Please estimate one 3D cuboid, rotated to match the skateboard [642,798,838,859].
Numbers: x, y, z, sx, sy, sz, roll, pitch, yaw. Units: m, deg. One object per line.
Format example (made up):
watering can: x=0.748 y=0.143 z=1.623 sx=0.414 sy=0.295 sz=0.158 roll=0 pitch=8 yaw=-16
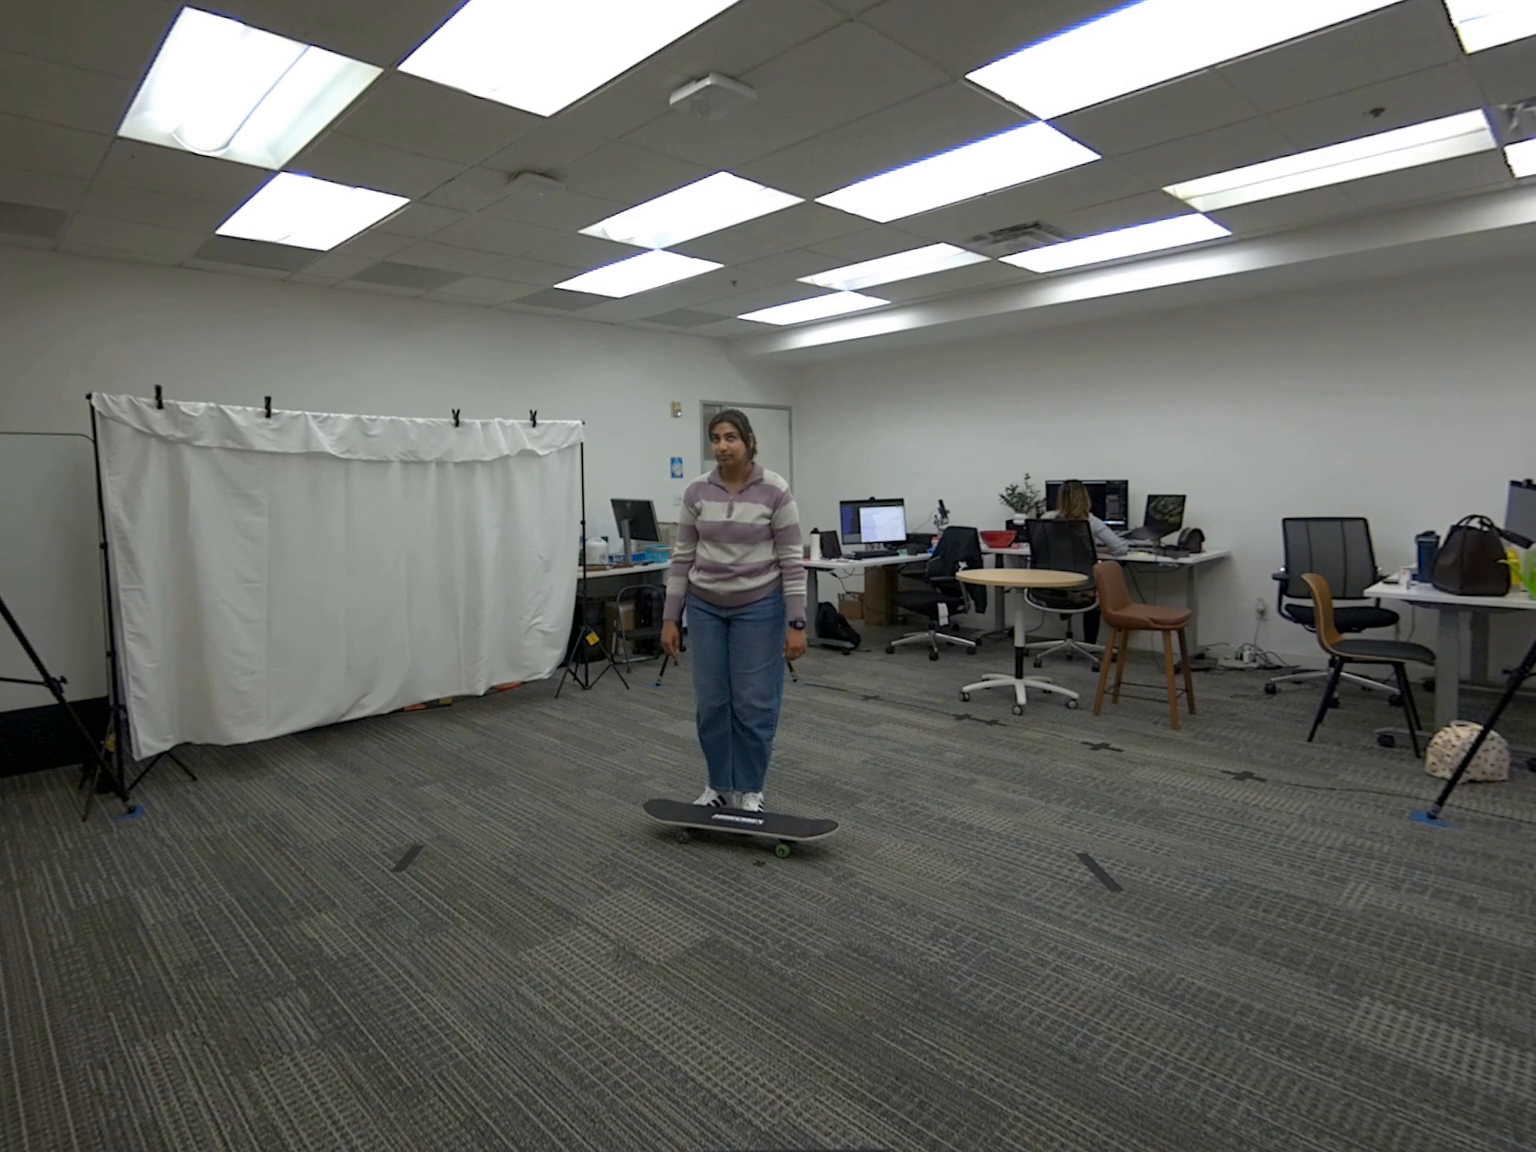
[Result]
skateboard: x=-0.112 y=0.969 z=3.297 sx=0.800 sy=0.110 sz=0.191 roll=1 pitch=6 yaw=19
